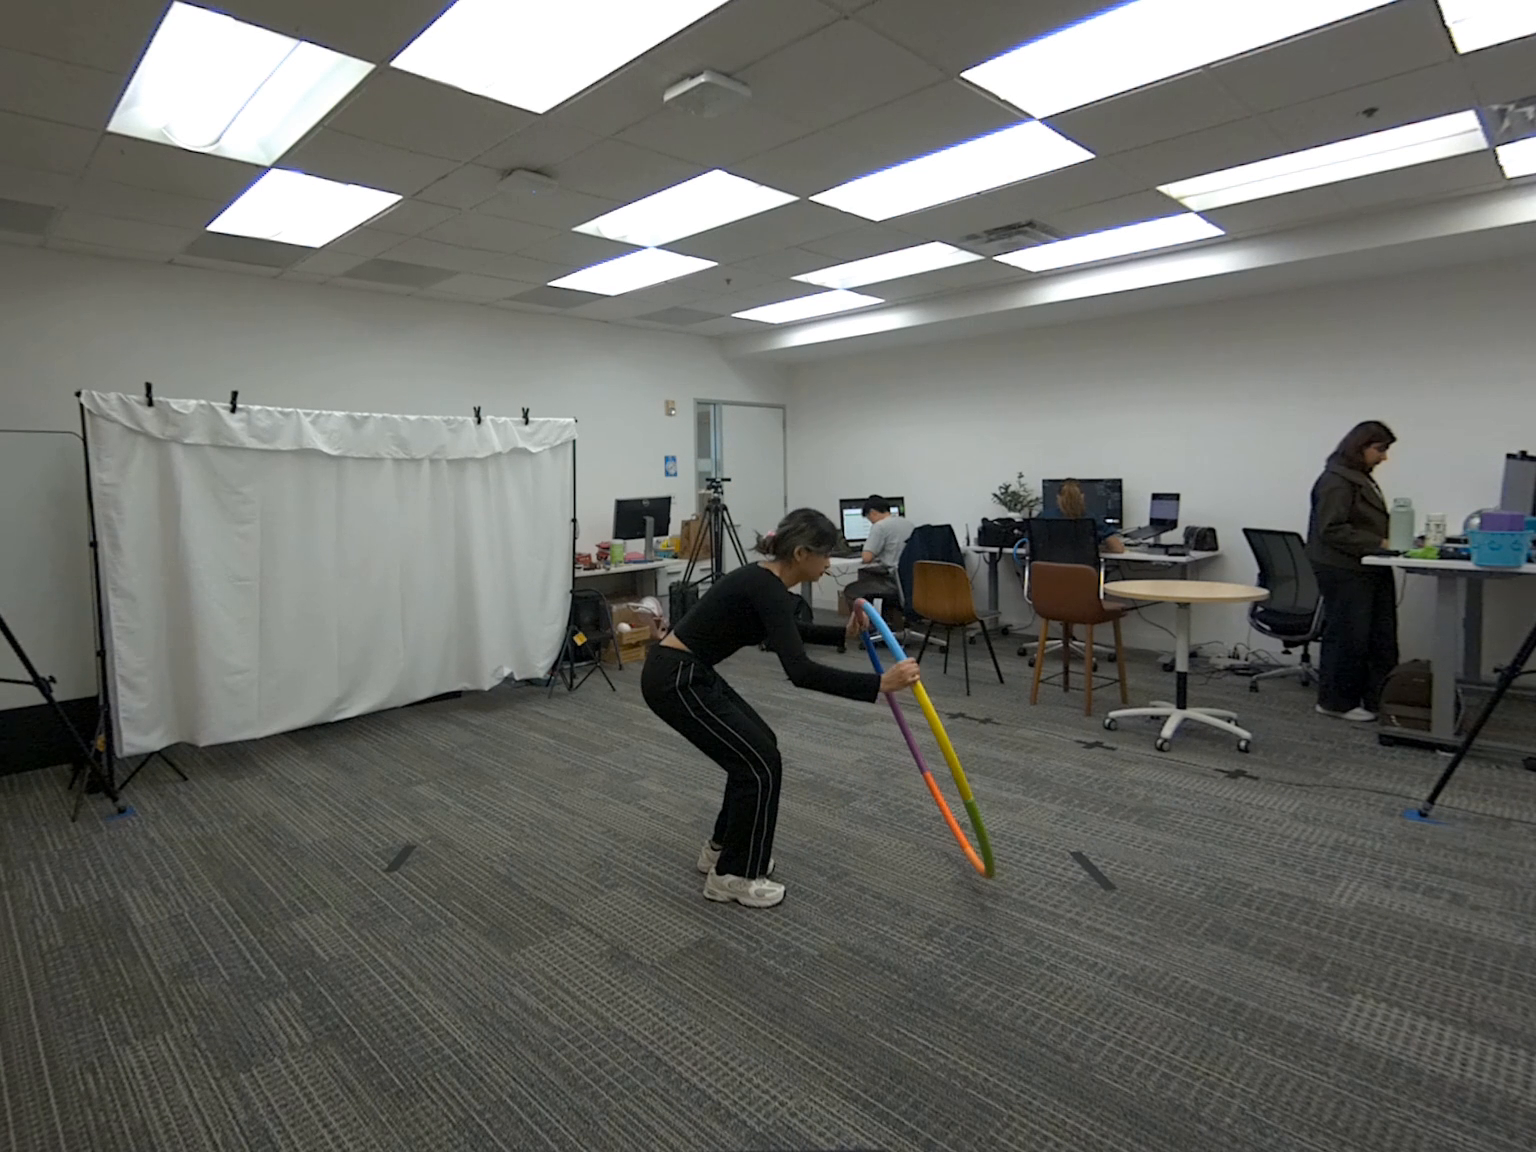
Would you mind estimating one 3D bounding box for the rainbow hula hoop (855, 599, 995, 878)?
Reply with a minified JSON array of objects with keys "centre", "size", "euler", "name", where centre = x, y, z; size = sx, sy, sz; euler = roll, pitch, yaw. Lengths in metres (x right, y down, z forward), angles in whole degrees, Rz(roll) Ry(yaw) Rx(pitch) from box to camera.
[{"centre":[0.513,0.538,2.917],"size":[0.035,0.974,0.984],"euler":[-24,5,-1],"name":"rainbow hula hoop"}]
